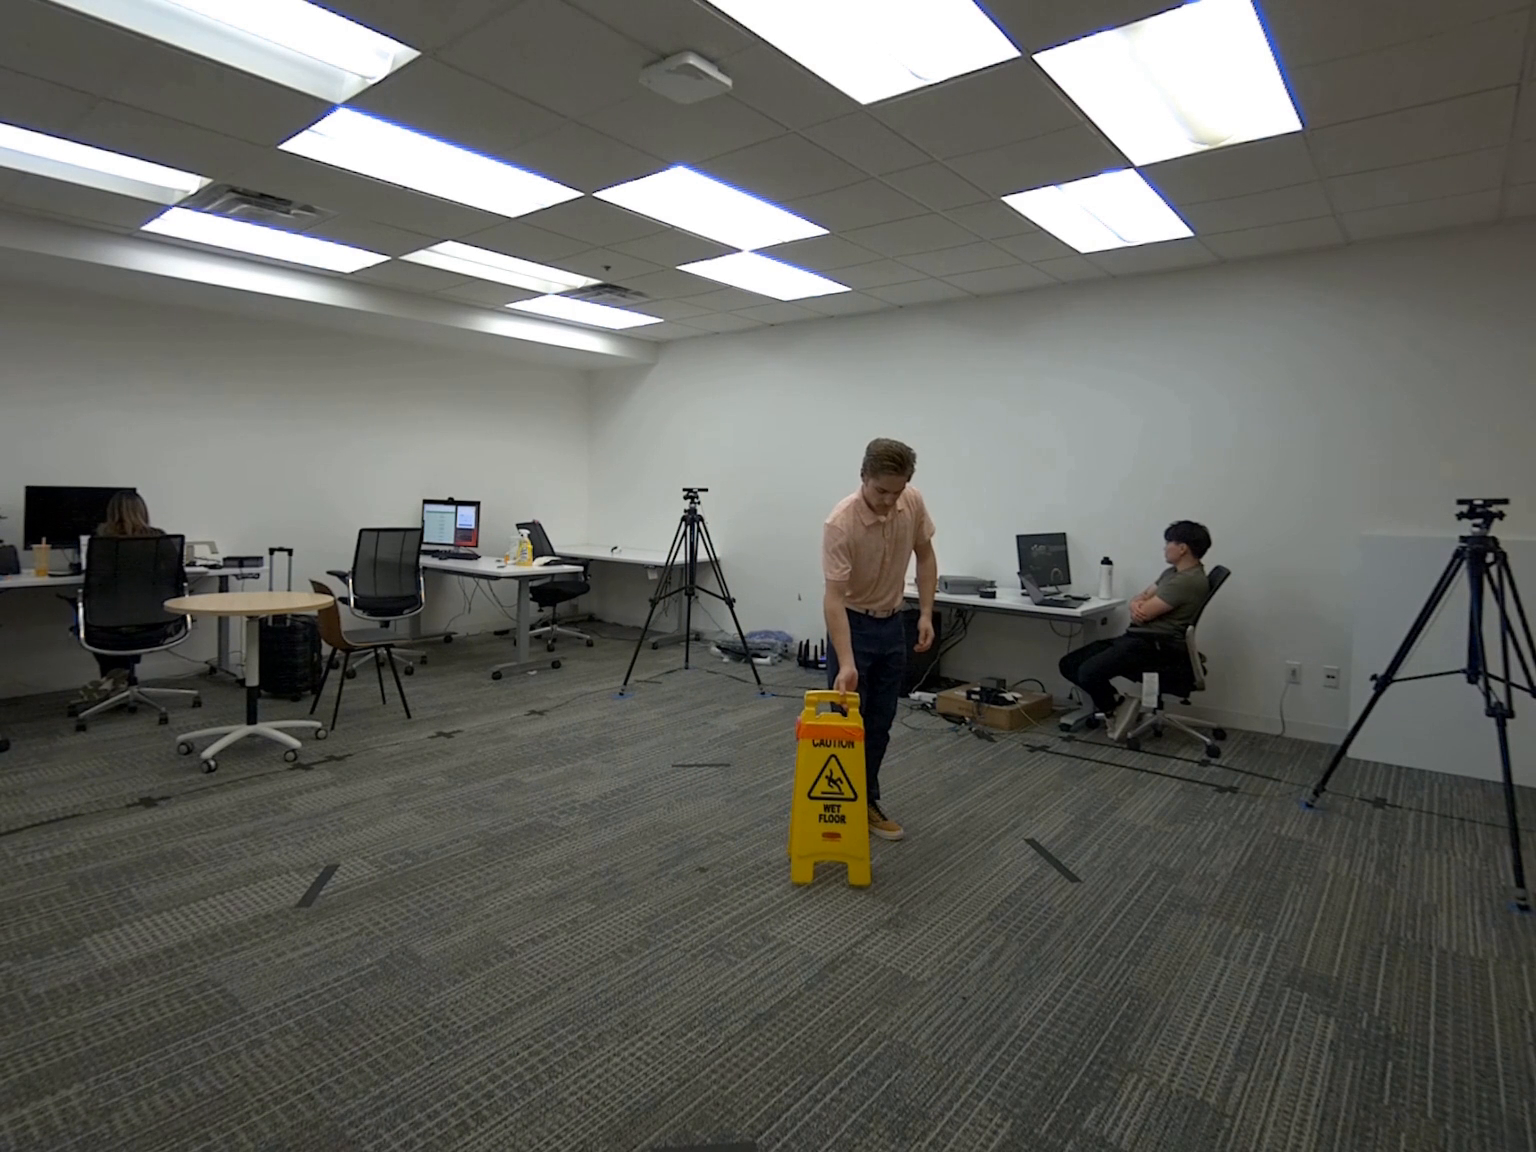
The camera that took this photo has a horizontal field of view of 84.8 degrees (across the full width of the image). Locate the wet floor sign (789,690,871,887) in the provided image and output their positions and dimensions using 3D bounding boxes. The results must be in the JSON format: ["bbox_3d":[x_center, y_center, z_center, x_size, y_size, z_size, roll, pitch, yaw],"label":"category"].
[{"bbox_3d":[0.216,0.740,3.084,0.282,0.644,0.291,-1,3,-1],"label":"wet floor sign"}]
